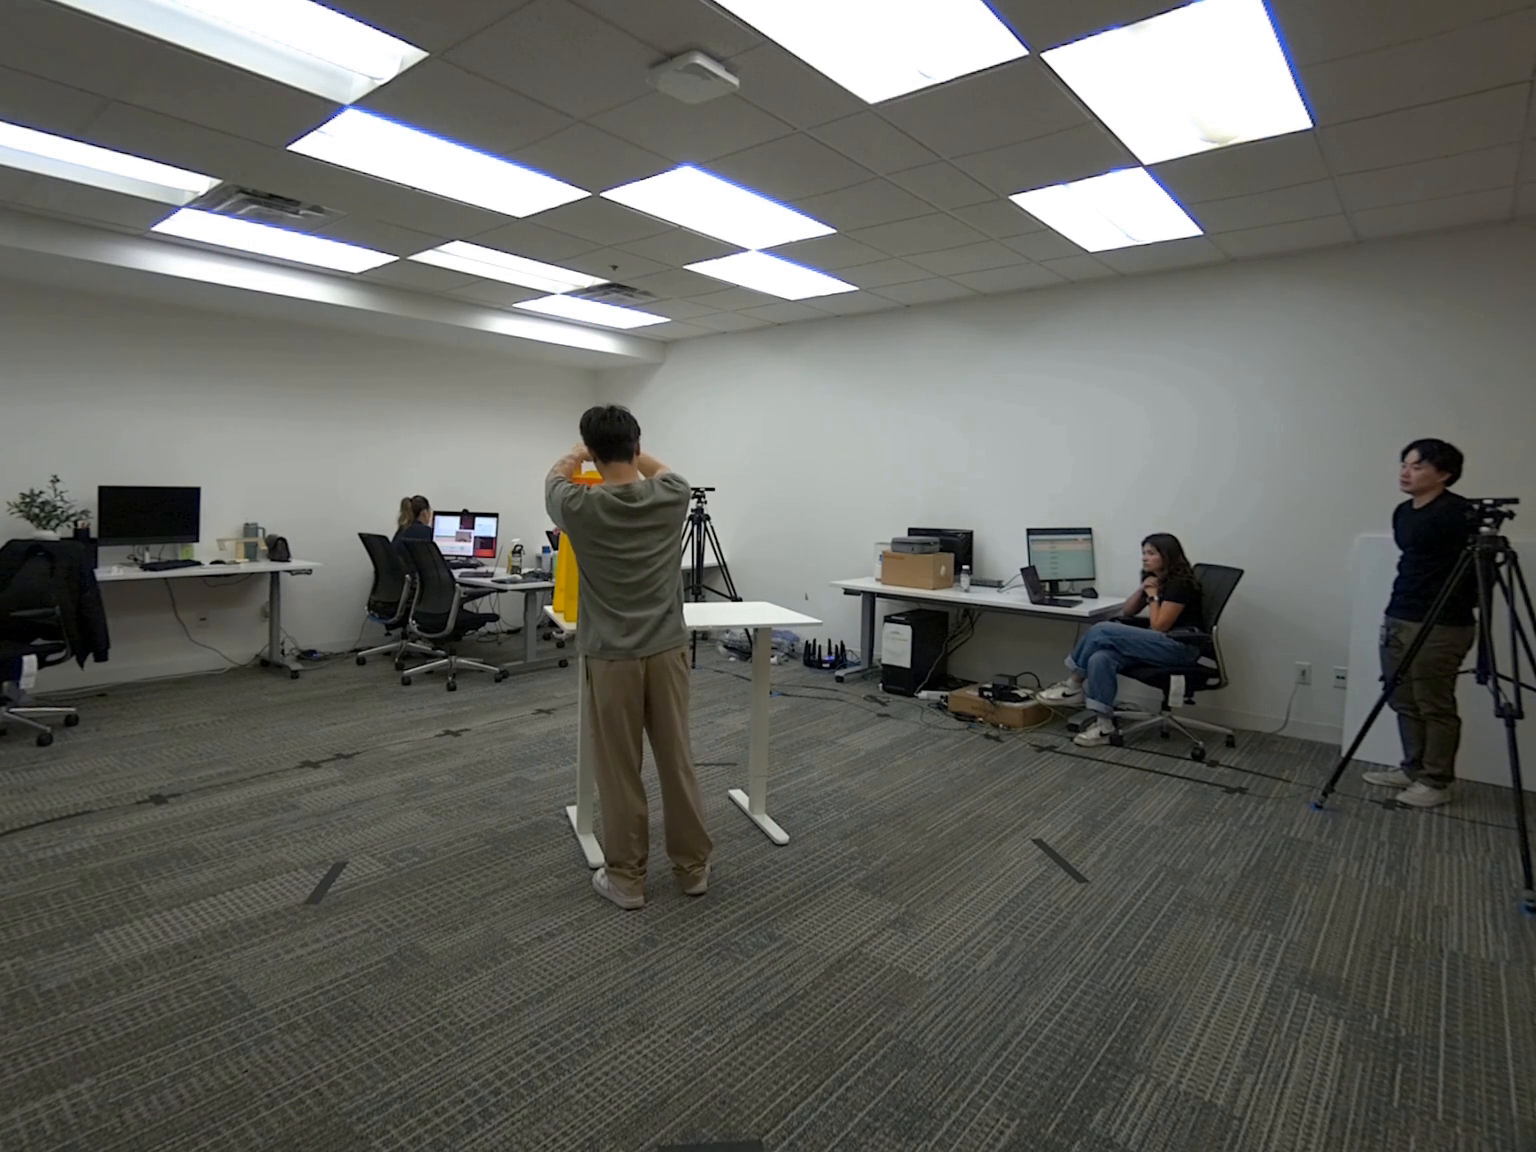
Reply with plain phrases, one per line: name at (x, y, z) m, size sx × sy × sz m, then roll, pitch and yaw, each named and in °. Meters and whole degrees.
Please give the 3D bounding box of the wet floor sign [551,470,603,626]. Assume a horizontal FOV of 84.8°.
wet floor sign at (-0.680, -0.167, 3.300) m, size 0.276 × 0.645 × 0.297 m, roll 2°, pitch 2°, yaw -23°
